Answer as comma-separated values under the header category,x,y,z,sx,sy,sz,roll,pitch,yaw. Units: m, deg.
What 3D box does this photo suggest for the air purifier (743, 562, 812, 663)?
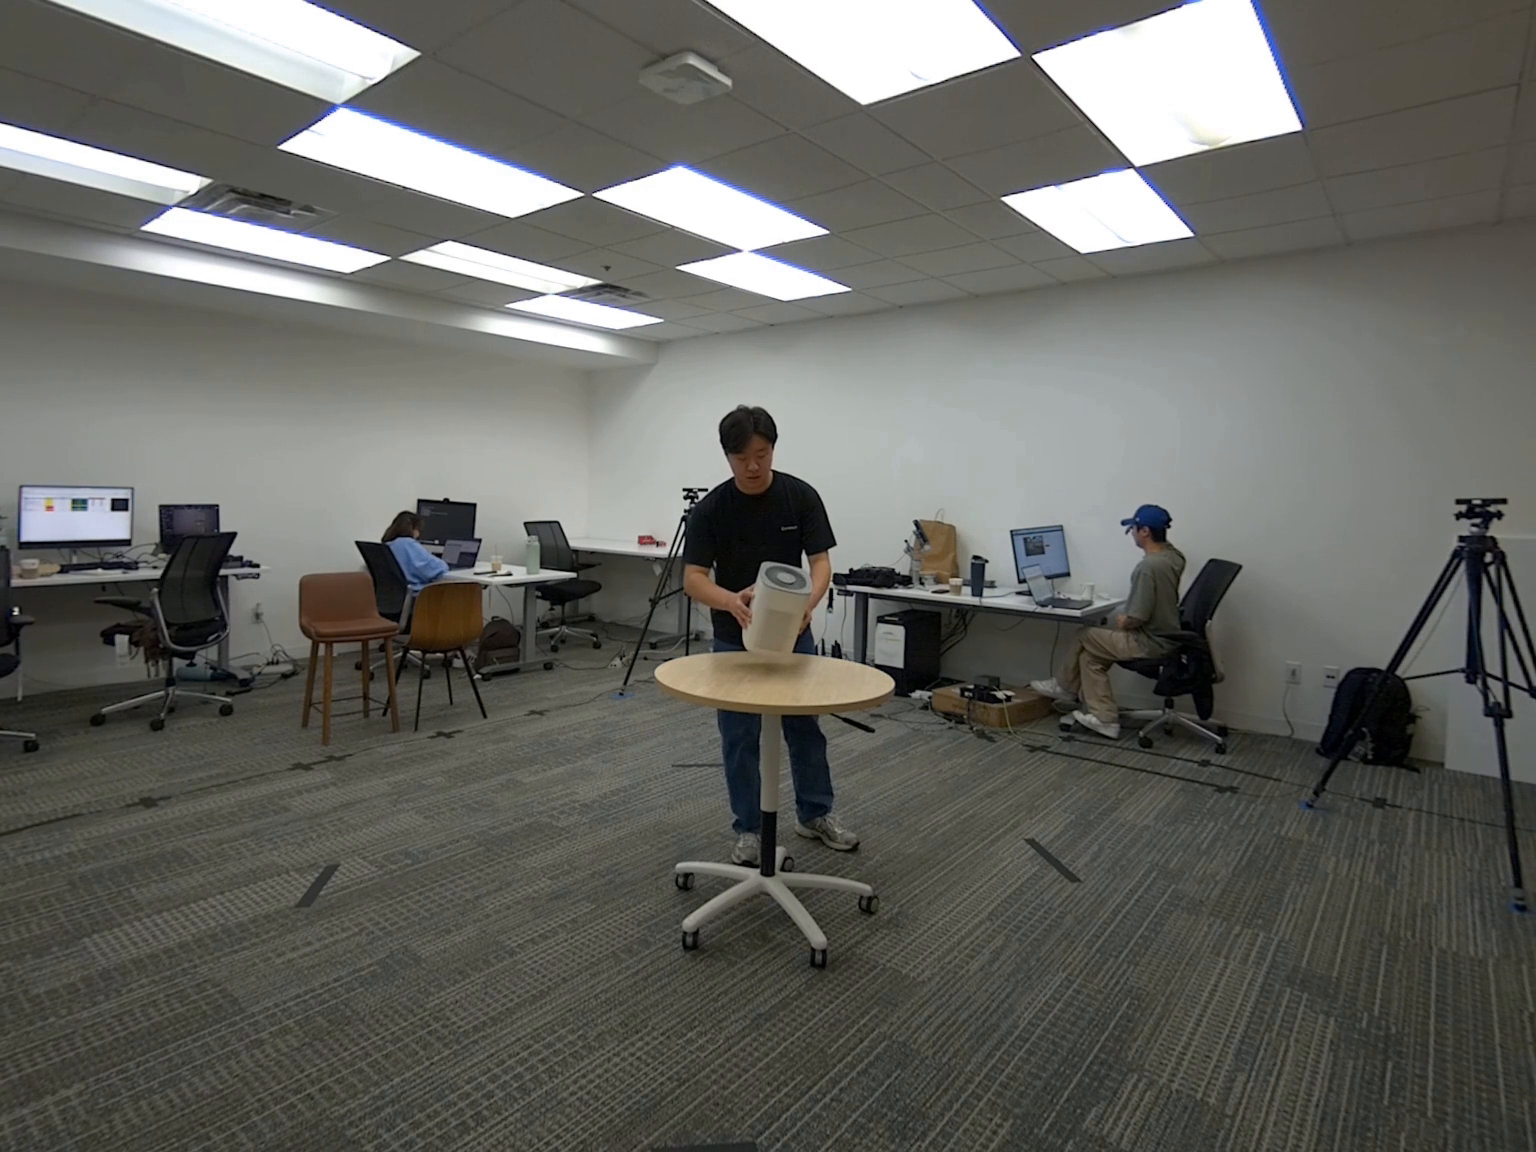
category,x,y,z,sx,sy,sz,roll,pitch,yaw
air purifier,0.017,0.116,2.765,0.170,0.261,0.175,12,27,-9
